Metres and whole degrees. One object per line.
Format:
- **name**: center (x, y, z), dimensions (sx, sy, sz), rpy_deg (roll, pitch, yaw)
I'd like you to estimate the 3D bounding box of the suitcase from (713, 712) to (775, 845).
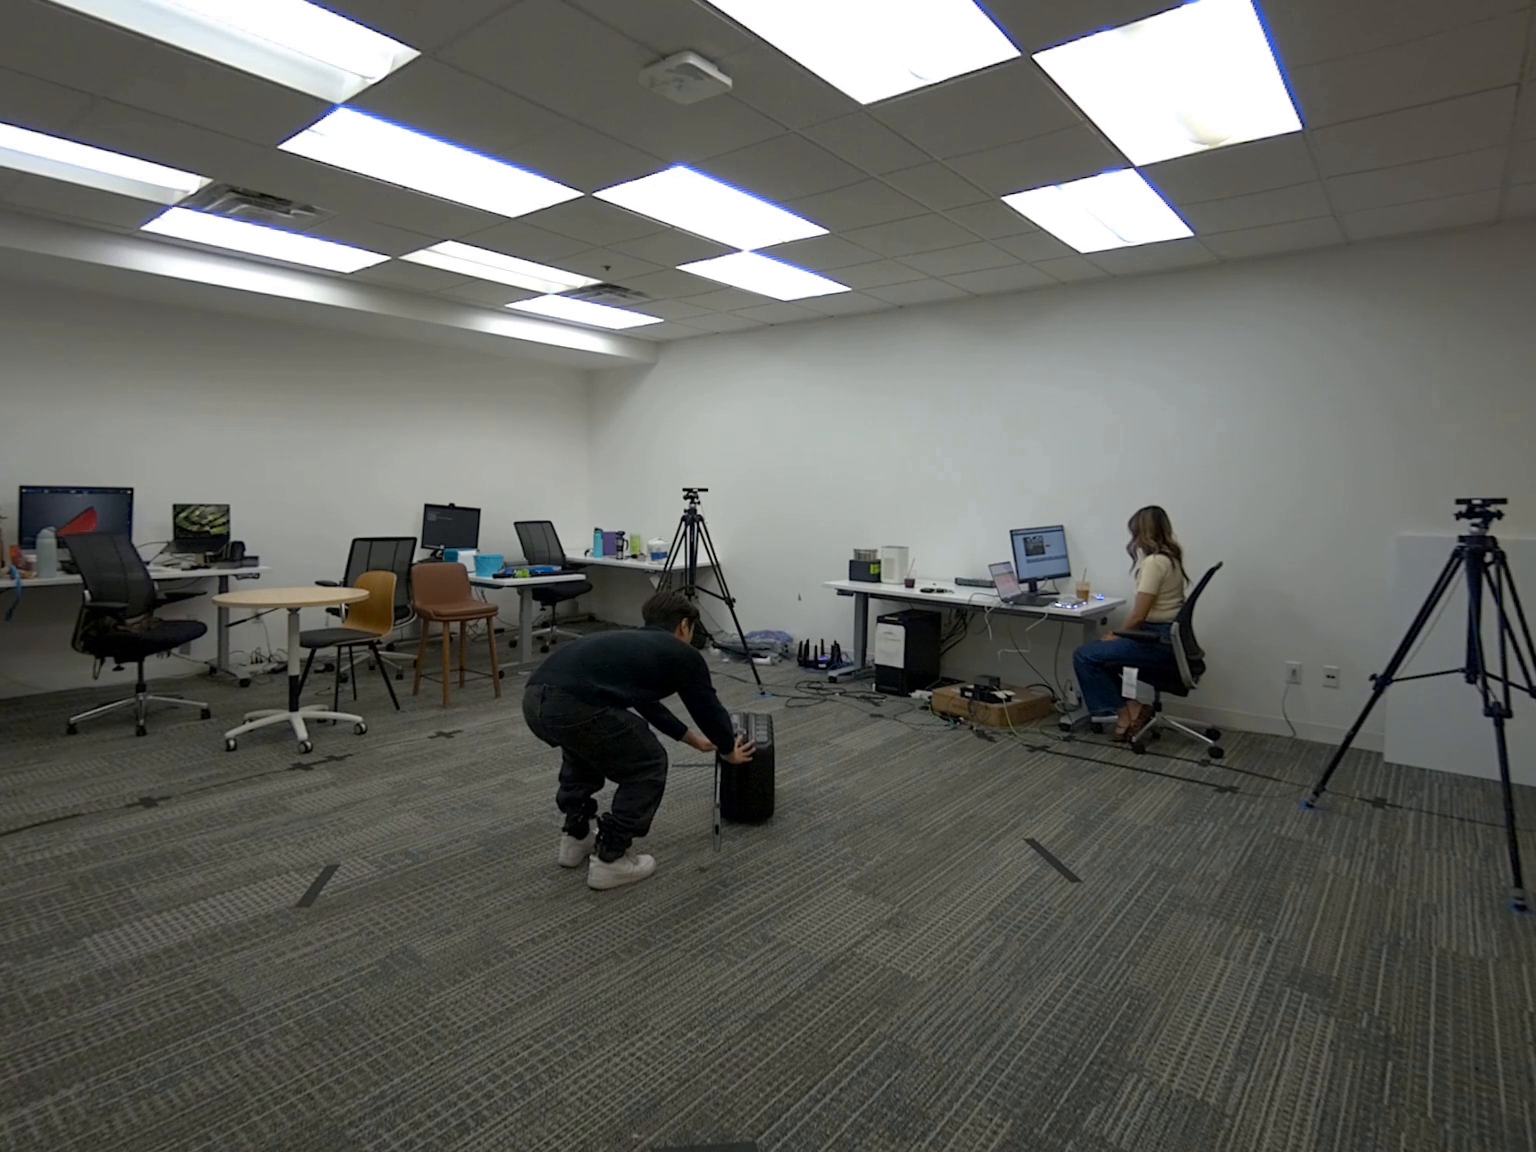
- **suitcase**: center (-0.097, 0.848, 3.547), dimensions (0.257, 0.383, 0.983), rpy_deg (0, 5, -3)
